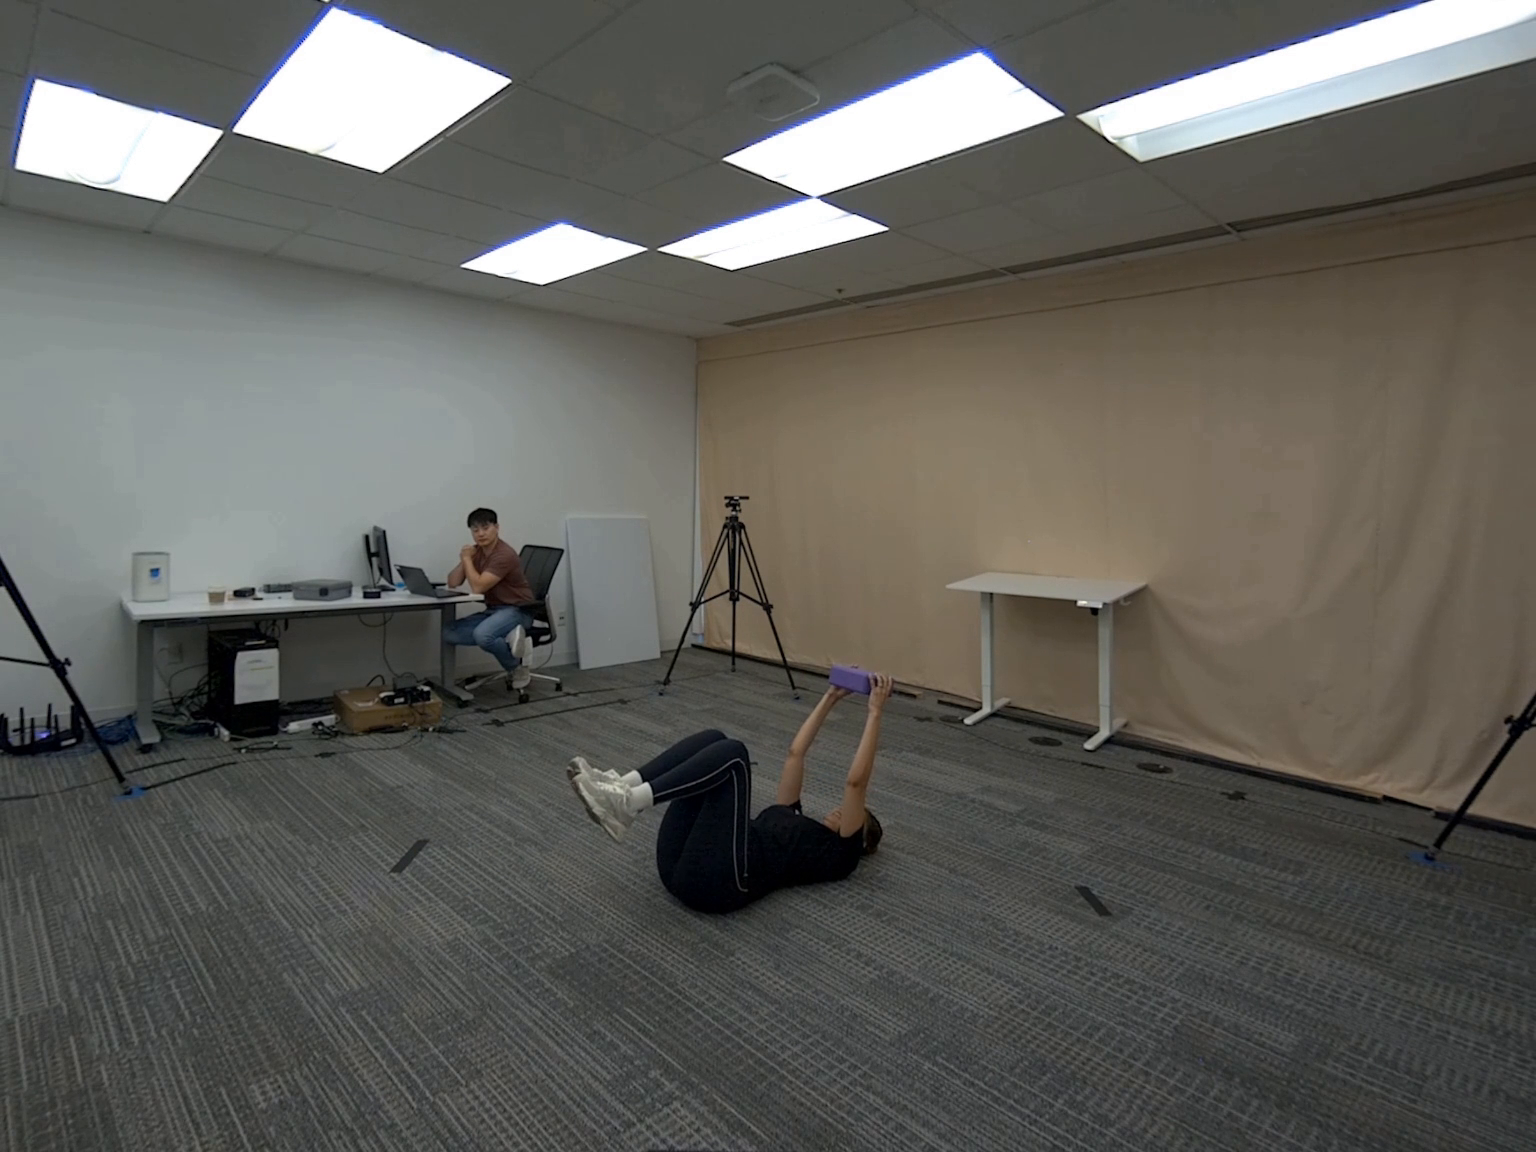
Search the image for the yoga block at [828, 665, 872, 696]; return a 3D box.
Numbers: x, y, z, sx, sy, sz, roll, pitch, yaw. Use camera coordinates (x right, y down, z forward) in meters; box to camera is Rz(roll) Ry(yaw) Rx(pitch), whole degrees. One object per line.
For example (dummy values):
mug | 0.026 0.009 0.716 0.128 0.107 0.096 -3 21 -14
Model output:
yoga block | 0.363 0.408 3.269 0.145 0.076 0.234 9 -1 -29
